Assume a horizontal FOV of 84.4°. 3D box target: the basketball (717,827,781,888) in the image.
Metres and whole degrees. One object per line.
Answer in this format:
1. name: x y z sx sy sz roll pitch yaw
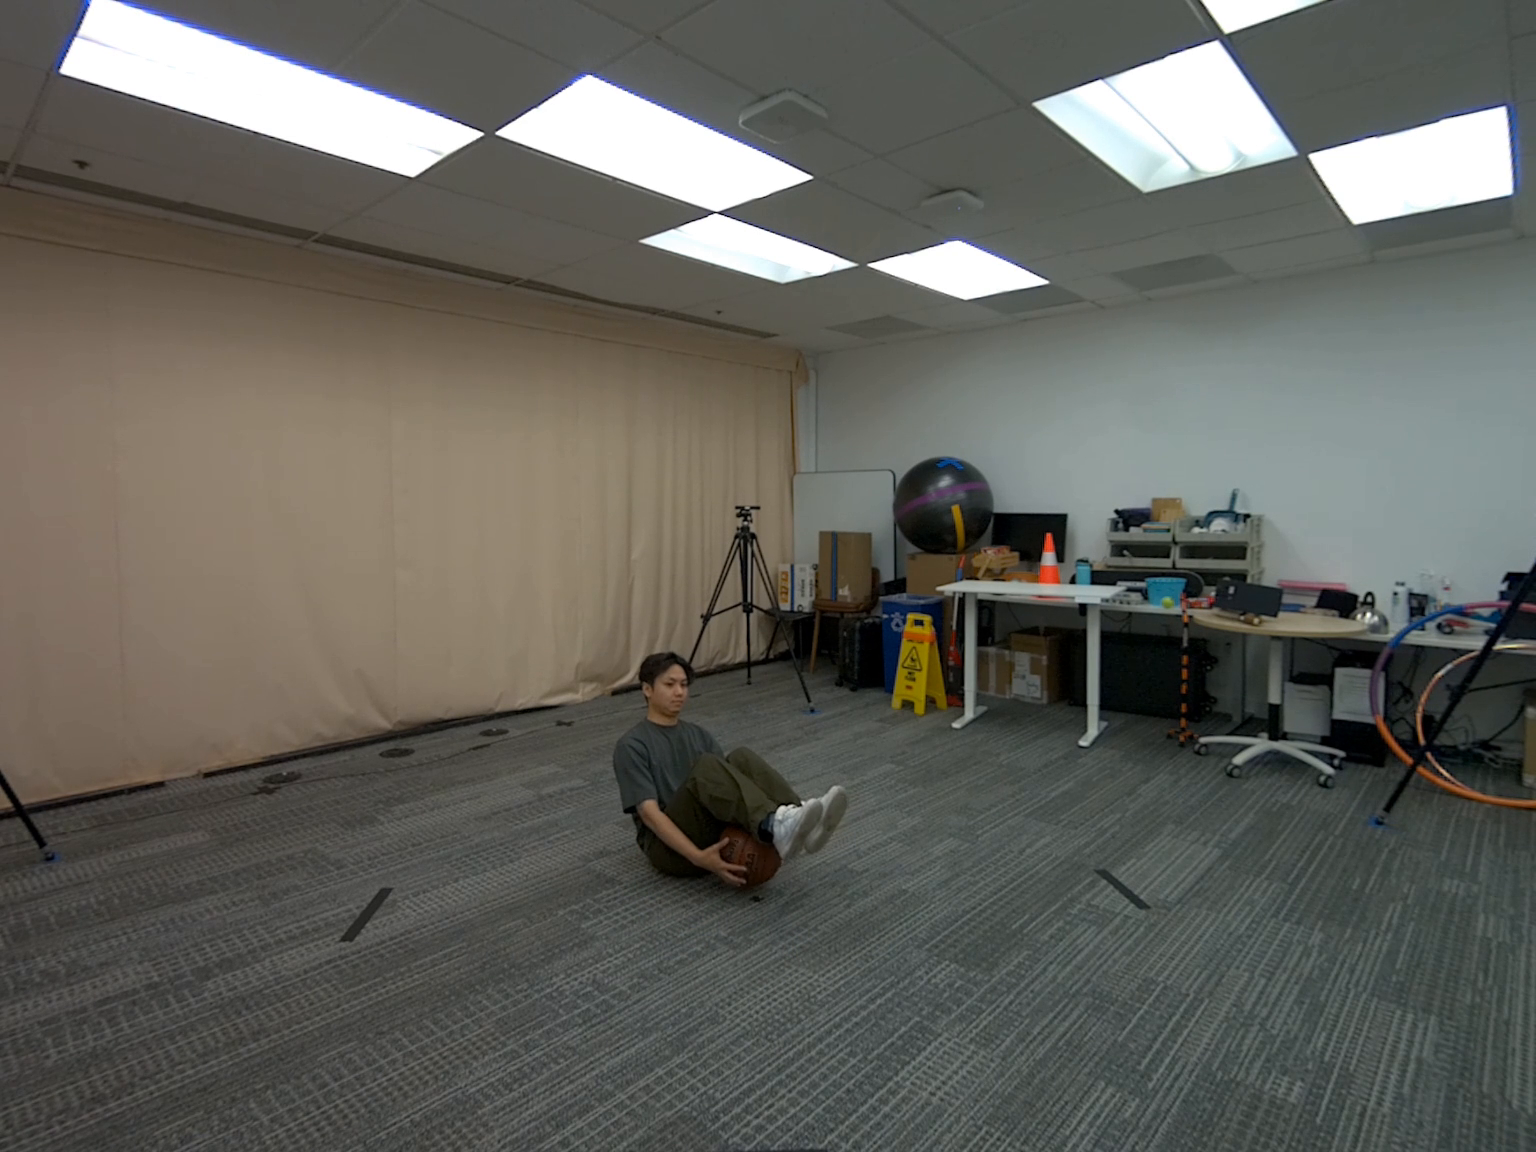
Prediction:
1. basketball: -0.074 0.981 3.035 0.236 0.235 0.237 0 4 -2
